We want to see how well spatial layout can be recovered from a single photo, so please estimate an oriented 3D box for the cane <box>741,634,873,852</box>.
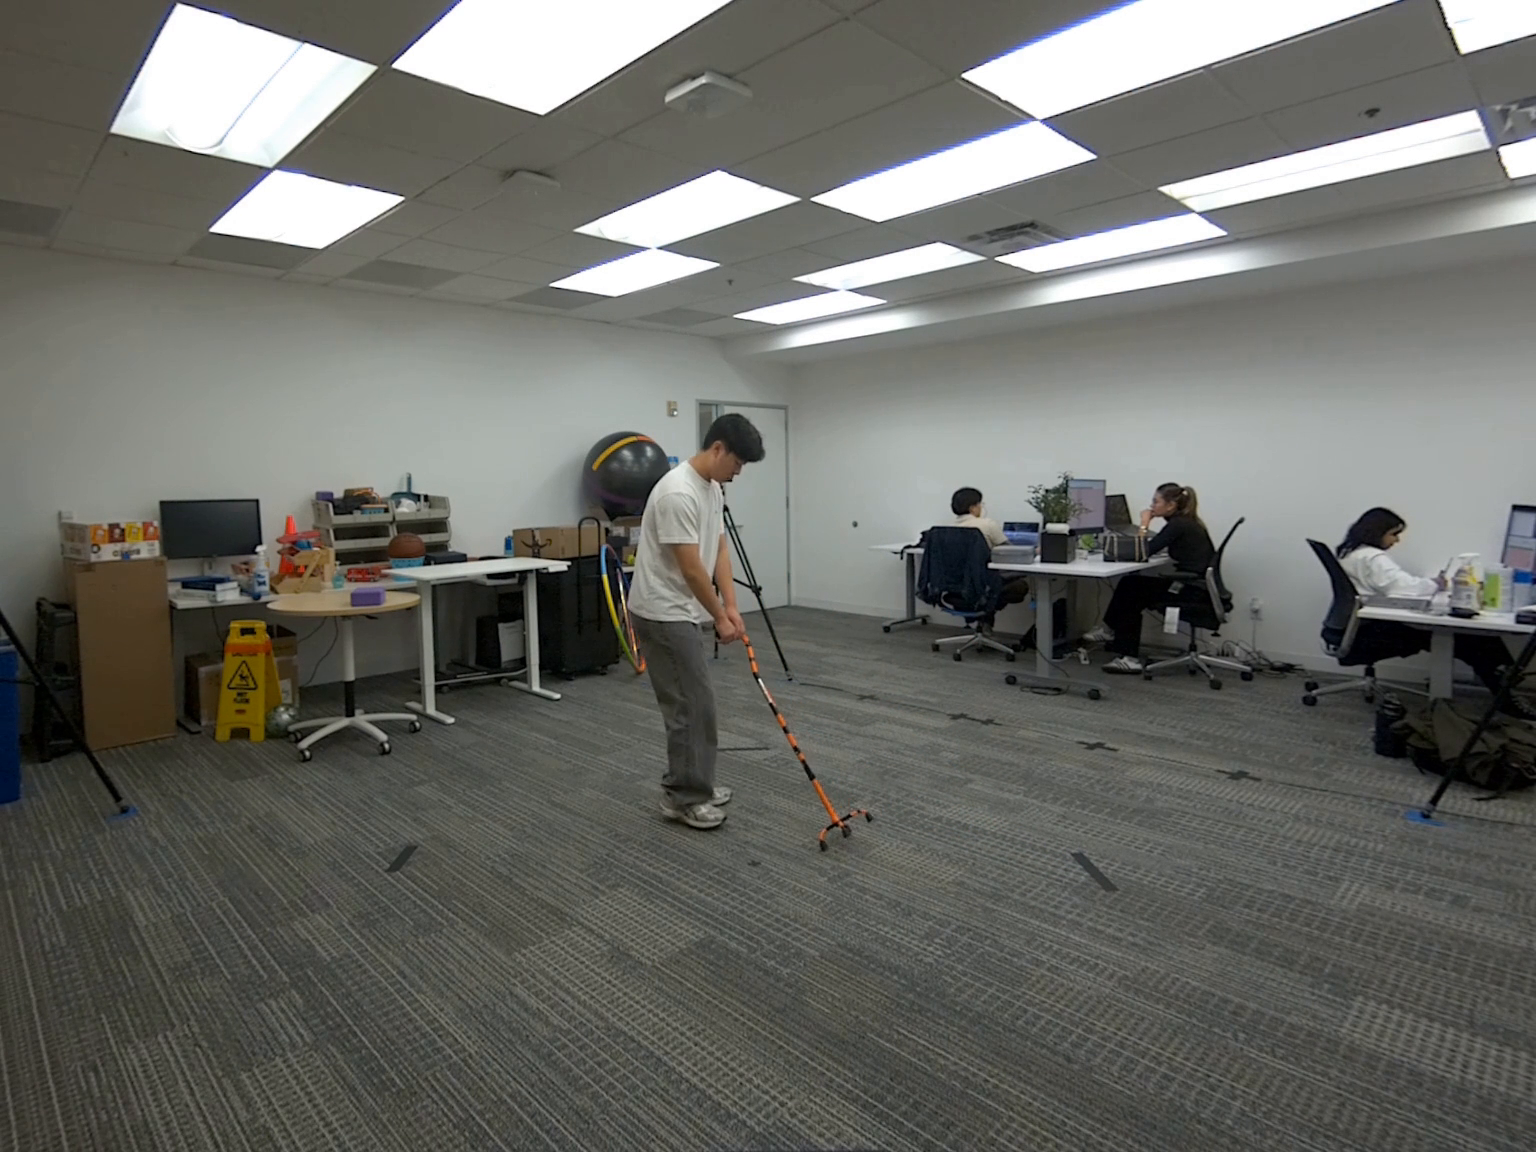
[{"bbox_3d":[0.091,0.605,3.382,0.152,0.928,0.201,-41,-21,30],"label":"cane"}]
